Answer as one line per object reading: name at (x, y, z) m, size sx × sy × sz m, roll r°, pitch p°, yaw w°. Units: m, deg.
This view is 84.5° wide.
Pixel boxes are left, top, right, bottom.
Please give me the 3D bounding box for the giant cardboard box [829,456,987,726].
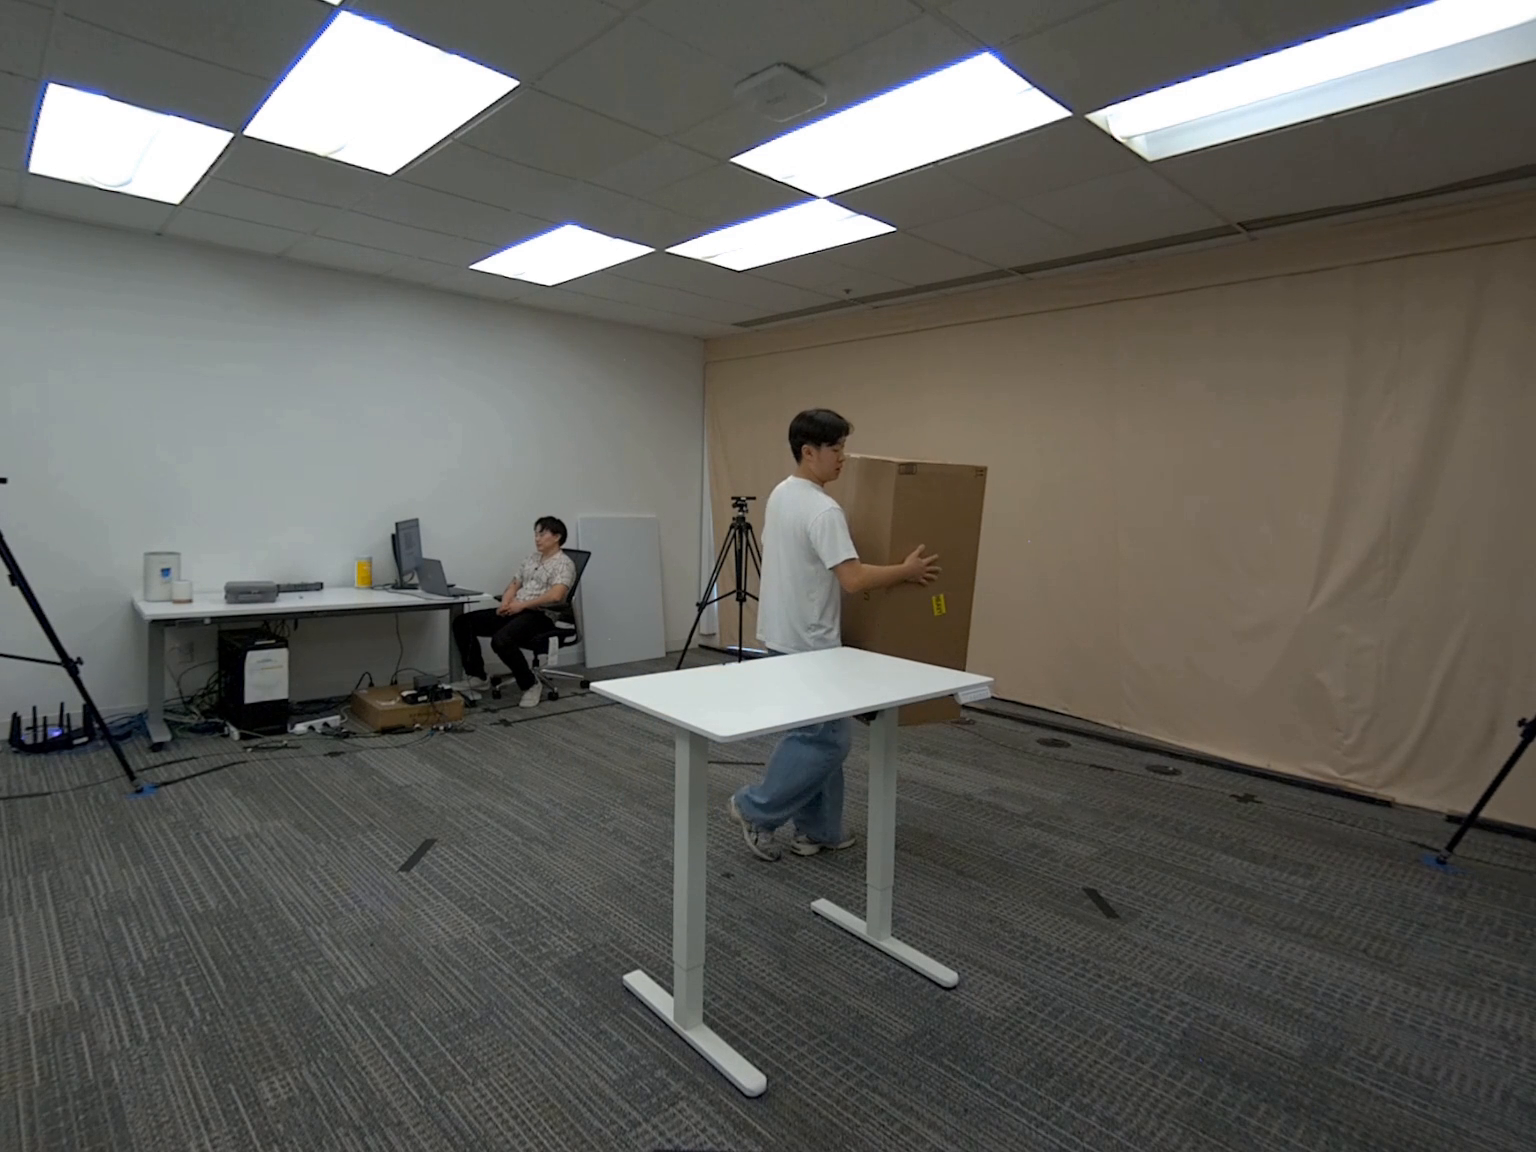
giant cardboard box at (0.493, 0.030, 3.486) m, size 0.419 × 1.020 × 0.591 m, roll 1°, pitch 9°, yaw -24°
